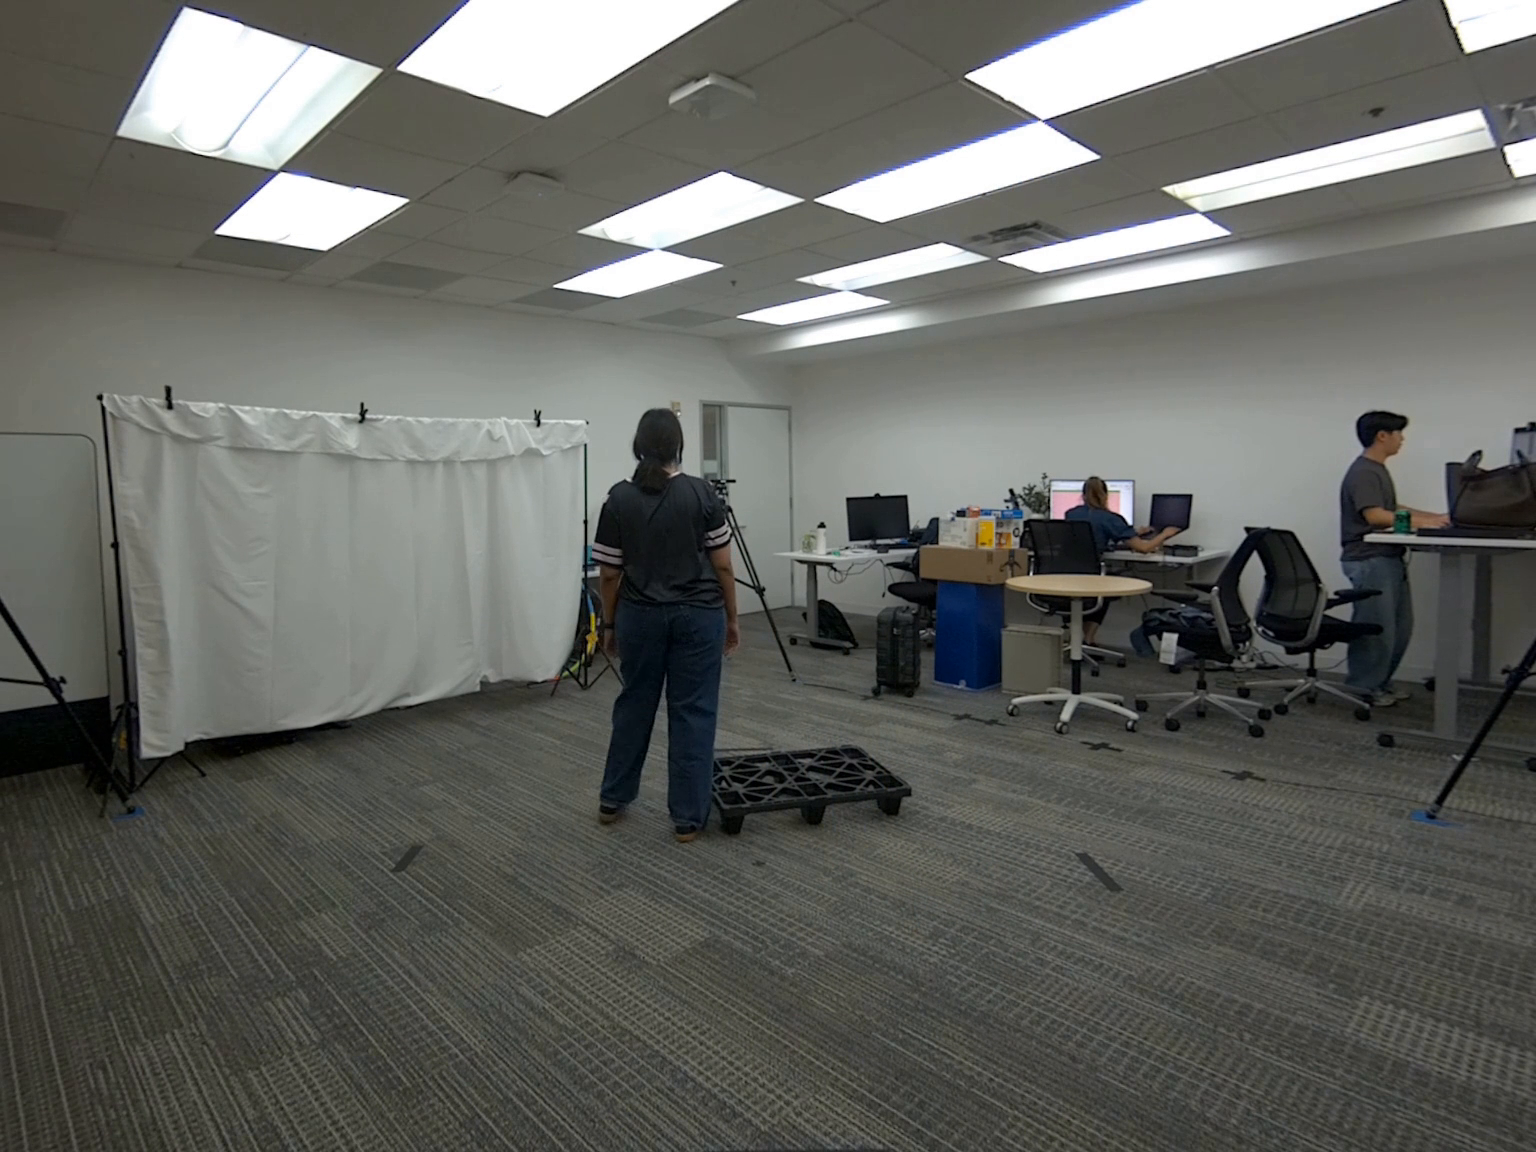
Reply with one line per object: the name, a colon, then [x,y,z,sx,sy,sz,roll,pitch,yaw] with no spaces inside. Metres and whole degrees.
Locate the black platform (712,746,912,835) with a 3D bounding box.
black platform: [0.129,0.915,3.685,0.795,0.143,0.615,-3,5,-14]
